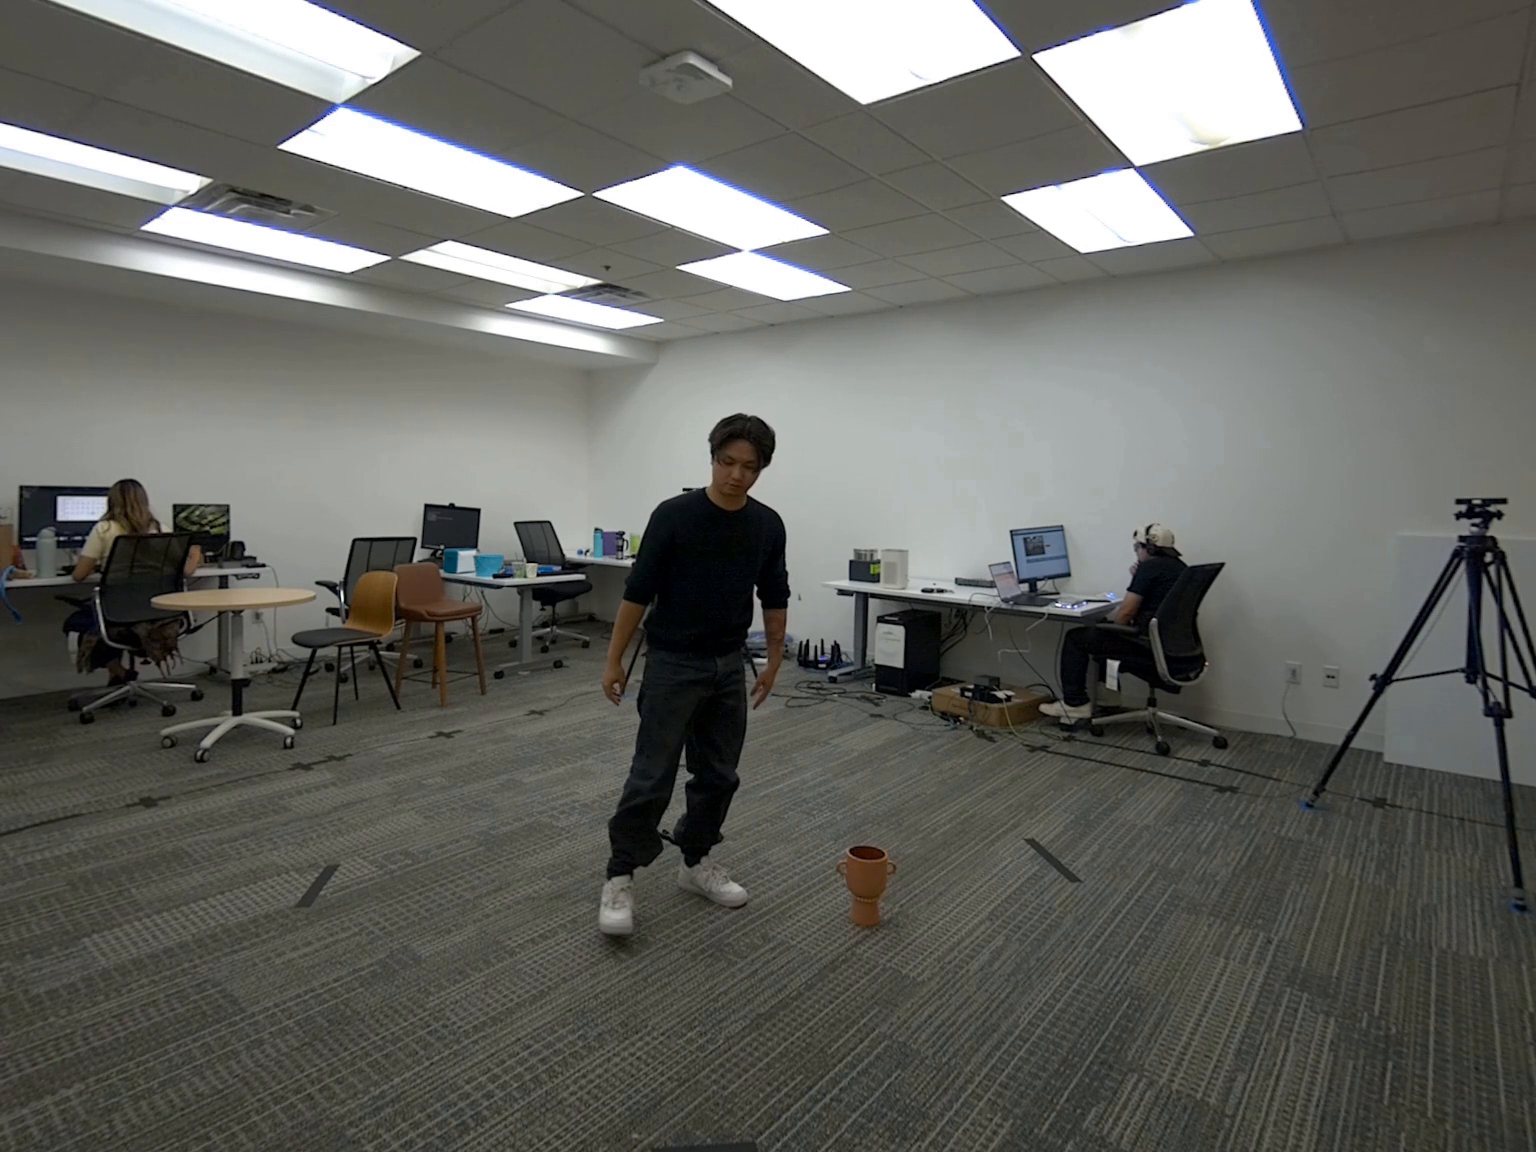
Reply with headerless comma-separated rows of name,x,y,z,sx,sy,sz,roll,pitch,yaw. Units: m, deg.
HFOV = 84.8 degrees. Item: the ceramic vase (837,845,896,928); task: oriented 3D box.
ceramic vase,0.314,1.008,2.763,0.164,0.219,0.131,4,5,35
